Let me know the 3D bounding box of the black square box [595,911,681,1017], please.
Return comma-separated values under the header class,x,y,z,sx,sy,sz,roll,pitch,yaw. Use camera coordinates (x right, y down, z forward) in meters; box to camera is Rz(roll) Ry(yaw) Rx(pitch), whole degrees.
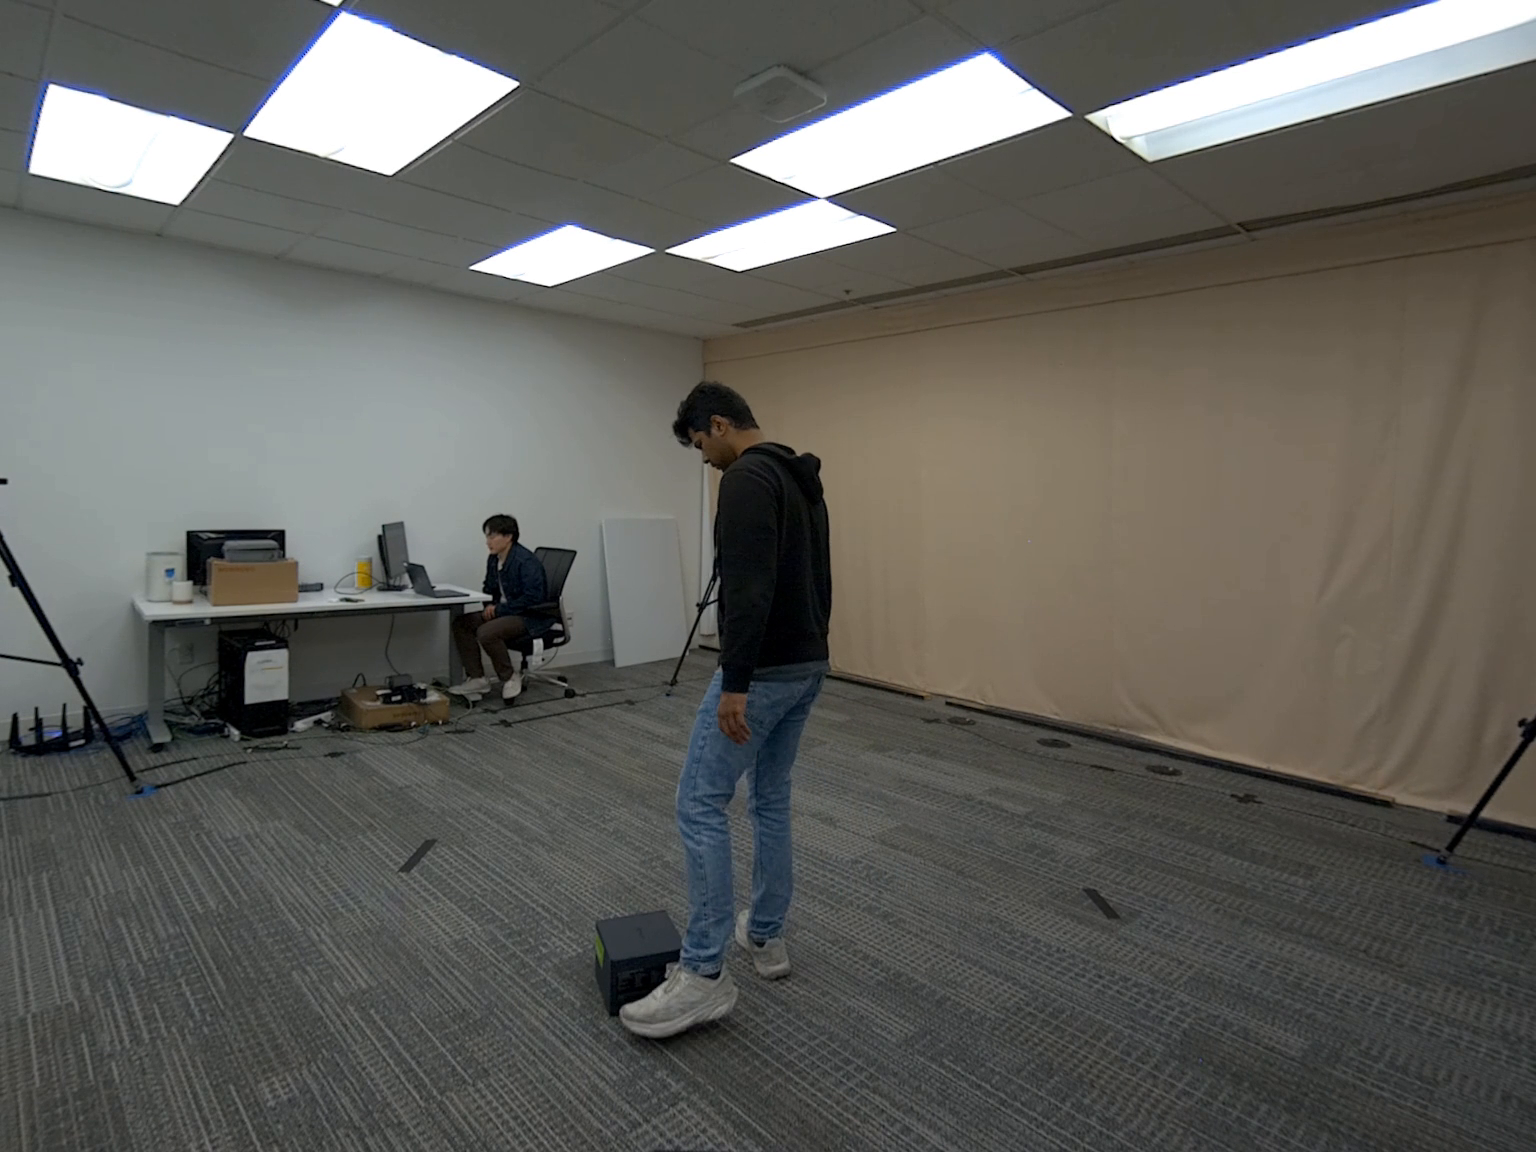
class,x,y,z,sx,sy,sz,roll,pitch,yaw
black square box,-0.373,1.084,2.402,0.214,0.155,0.232,-1,5,-20
